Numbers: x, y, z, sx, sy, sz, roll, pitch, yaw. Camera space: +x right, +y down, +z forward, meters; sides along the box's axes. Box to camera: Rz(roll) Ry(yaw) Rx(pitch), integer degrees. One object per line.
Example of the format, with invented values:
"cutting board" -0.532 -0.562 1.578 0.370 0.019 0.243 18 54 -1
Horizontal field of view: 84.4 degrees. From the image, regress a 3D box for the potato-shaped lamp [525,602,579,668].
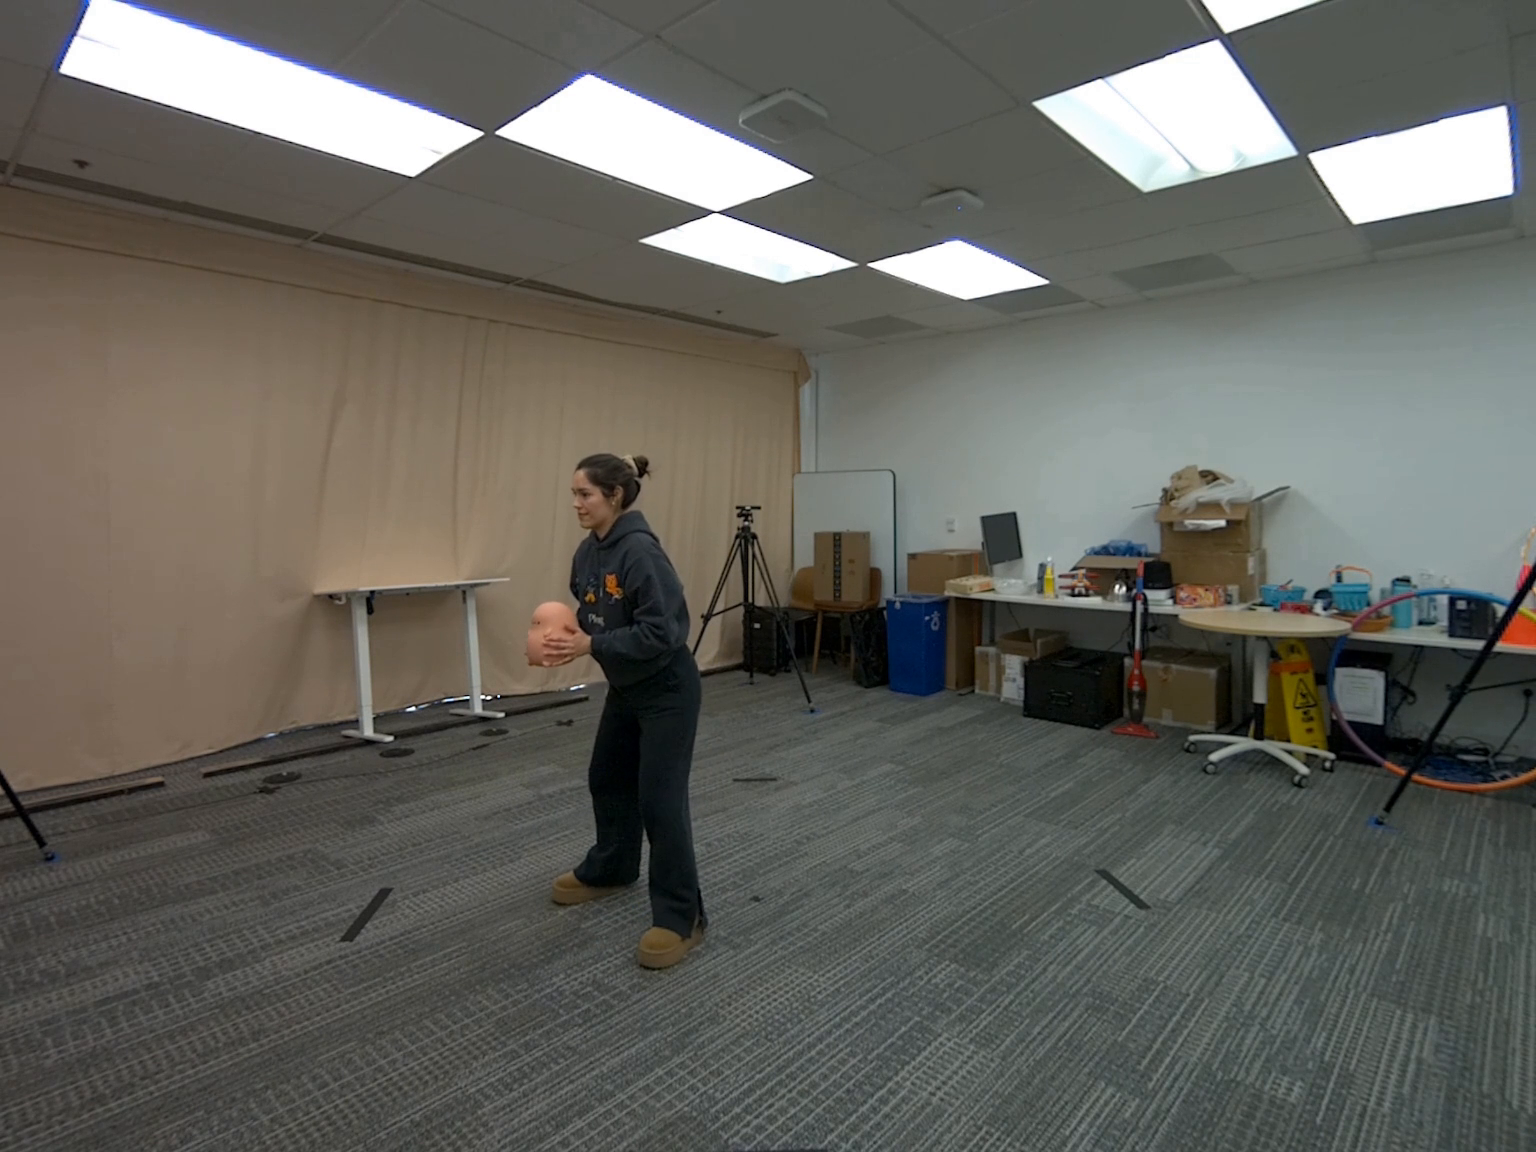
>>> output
"potato-shaped lamp" -0.668 0.187 2.657 0.166 0.198 0.169 -8 2 -39
